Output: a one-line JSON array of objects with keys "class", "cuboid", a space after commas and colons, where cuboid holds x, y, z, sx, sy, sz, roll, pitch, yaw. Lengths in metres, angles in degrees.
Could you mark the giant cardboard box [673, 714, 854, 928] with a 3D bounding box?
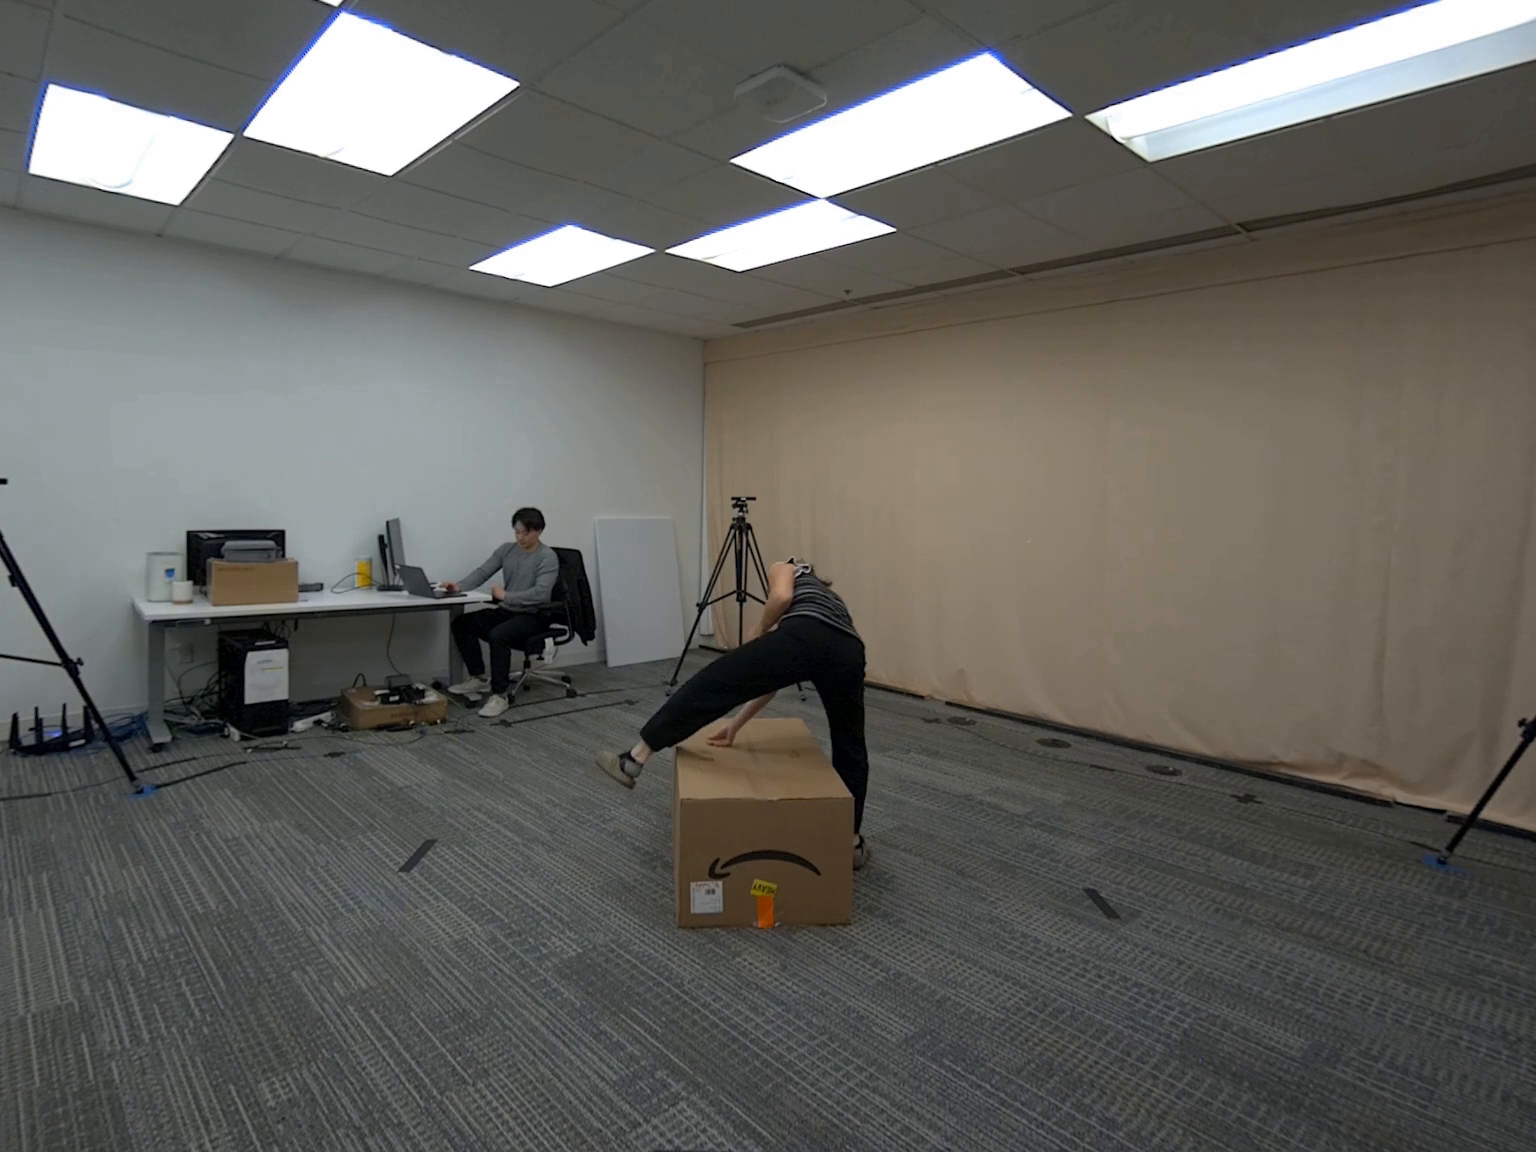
[{"class": "giant cardboard box", "cuboid": [-0.077, 0.890, 3.231, 0.575, 0.425, 1.033, 0, 4, -7]}]
